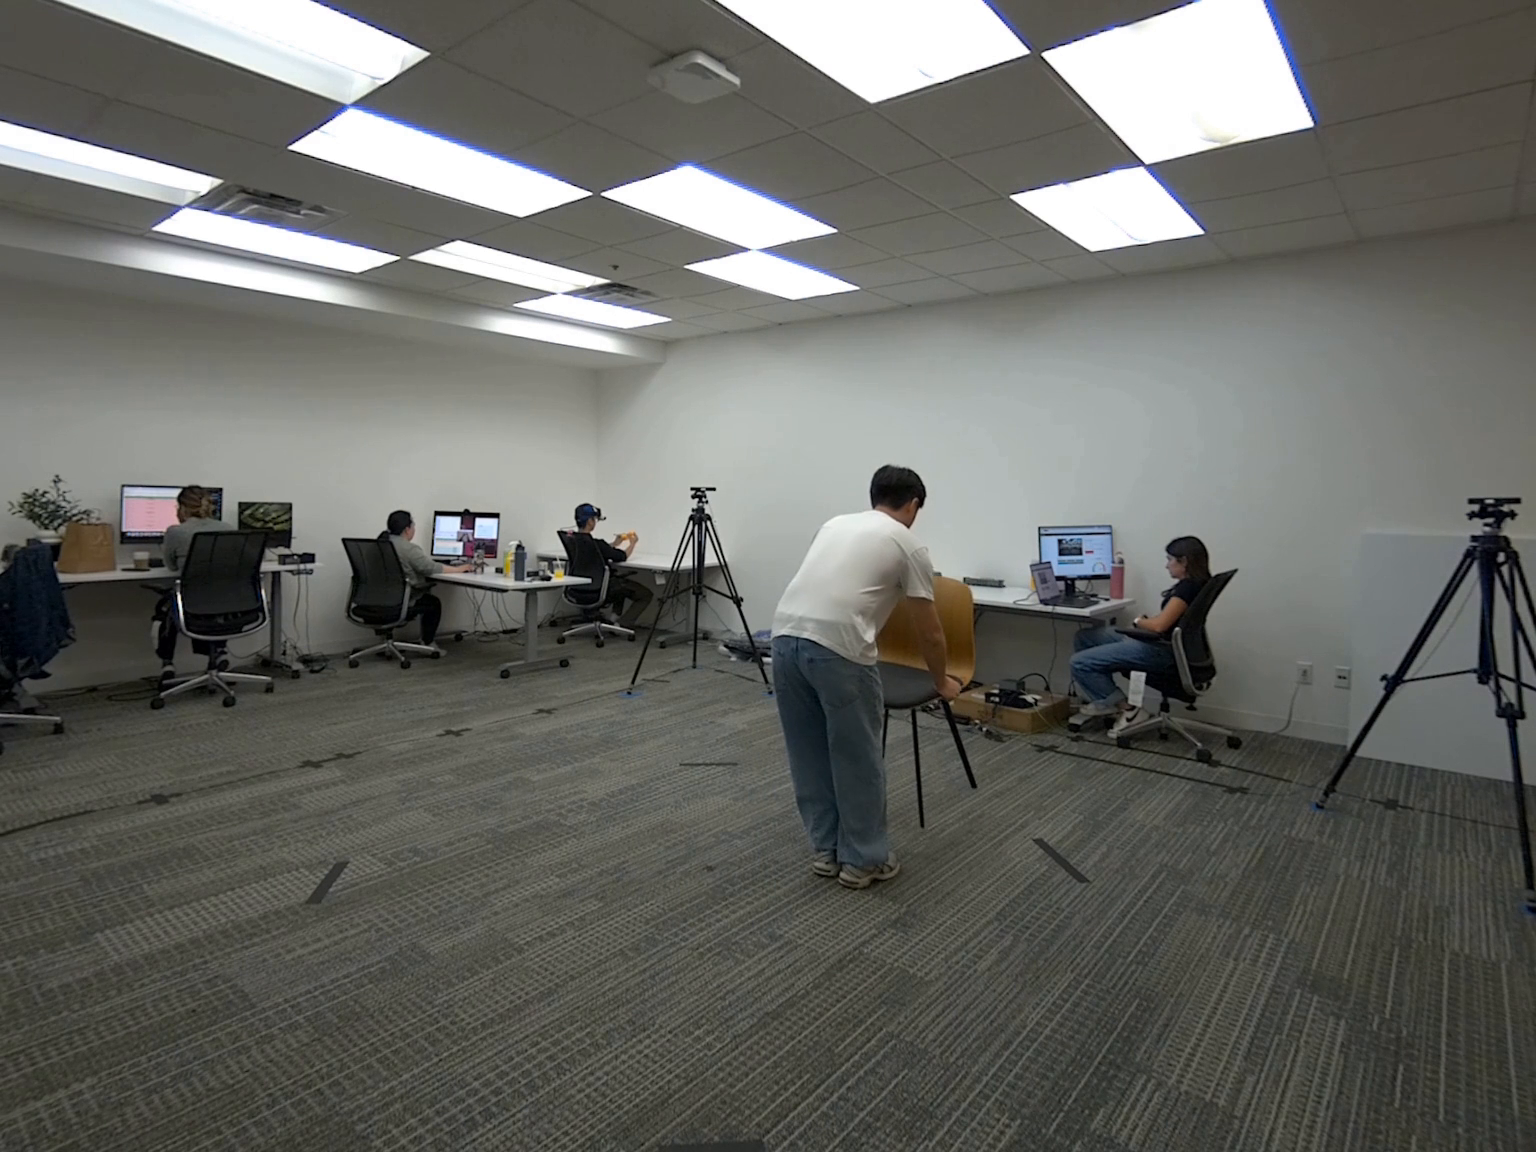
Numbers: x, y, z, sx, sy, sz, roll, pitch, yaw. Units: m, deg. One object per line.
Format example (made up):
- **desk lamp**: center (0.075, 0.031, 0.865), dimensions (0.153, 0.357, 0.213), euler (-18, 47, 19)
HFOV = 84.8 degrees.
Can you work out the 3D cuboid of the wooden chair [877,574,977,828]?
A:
- **wooden chair**: center (0.506, 0.447, 3.371), dimensions (0.495, 0.873, 0.508), euler (7, 7, 40)
